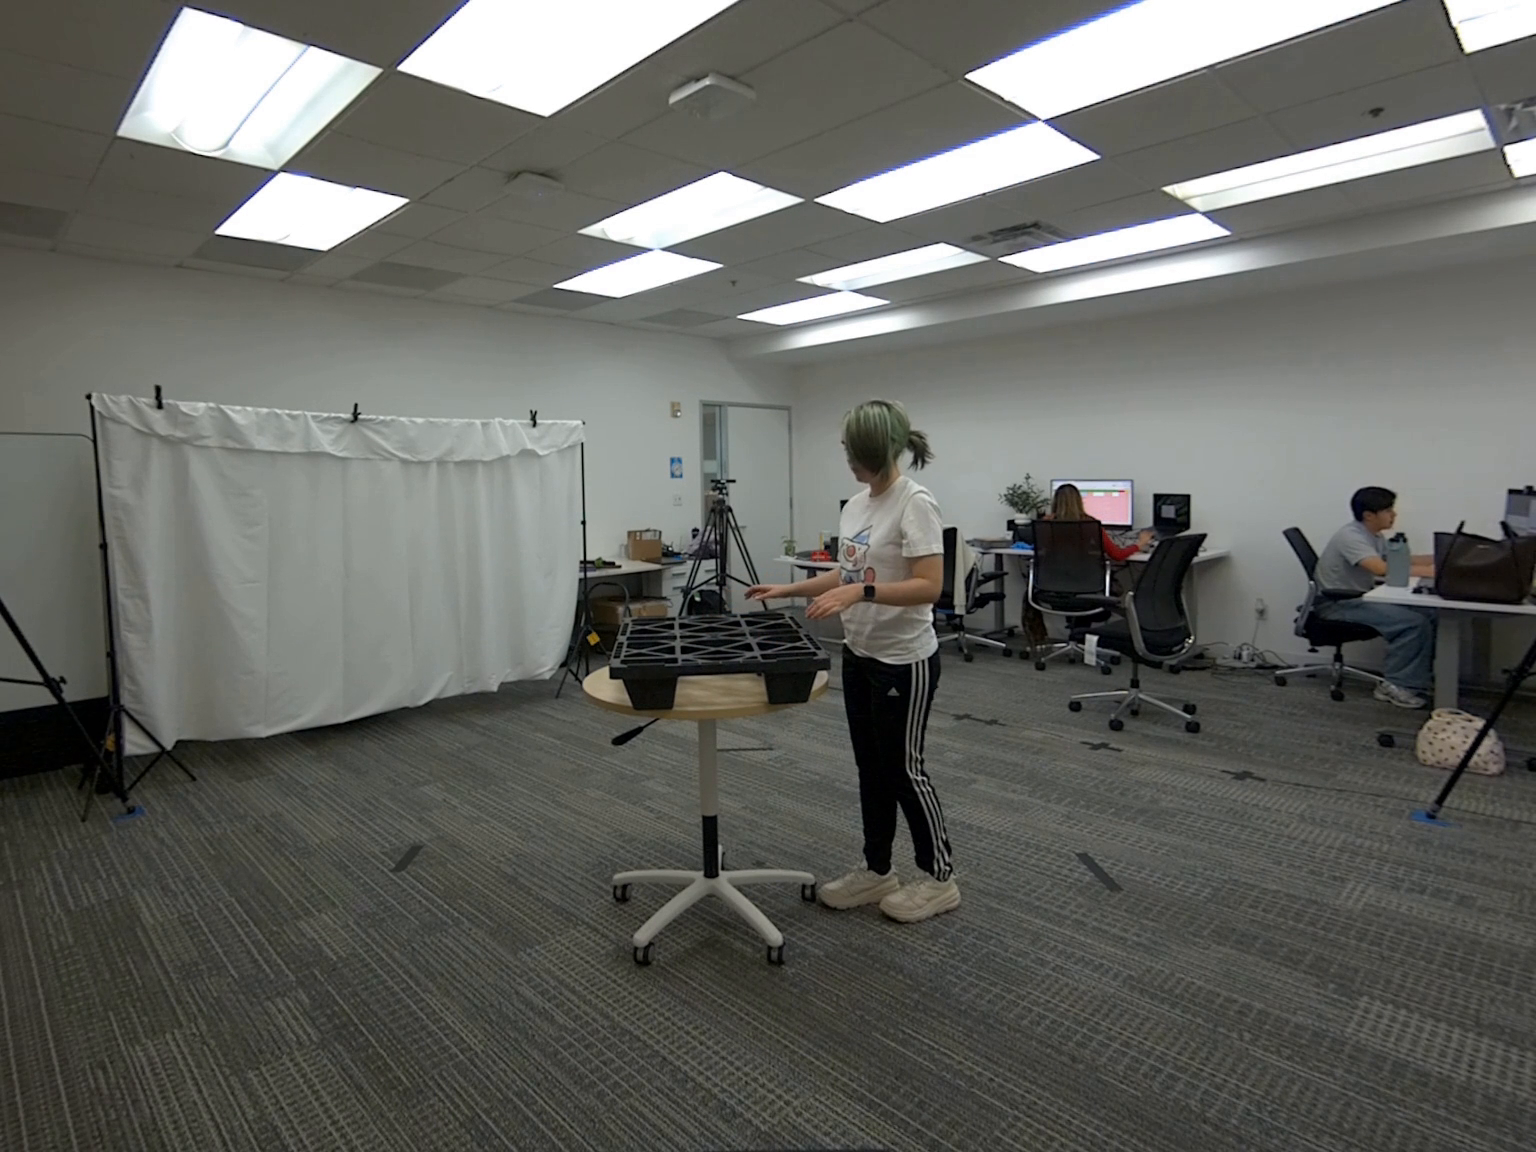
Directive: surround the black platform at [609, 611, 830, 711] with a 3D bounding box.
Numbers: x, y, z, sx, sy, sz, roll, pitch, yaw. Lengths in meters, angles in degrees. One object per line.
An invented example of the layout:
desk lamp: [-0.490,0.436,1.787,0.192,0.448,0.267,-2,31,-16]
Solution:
black platform: [-0.161,0.250,2.678,0.603,0.142,0.813,-2,7,-5]
